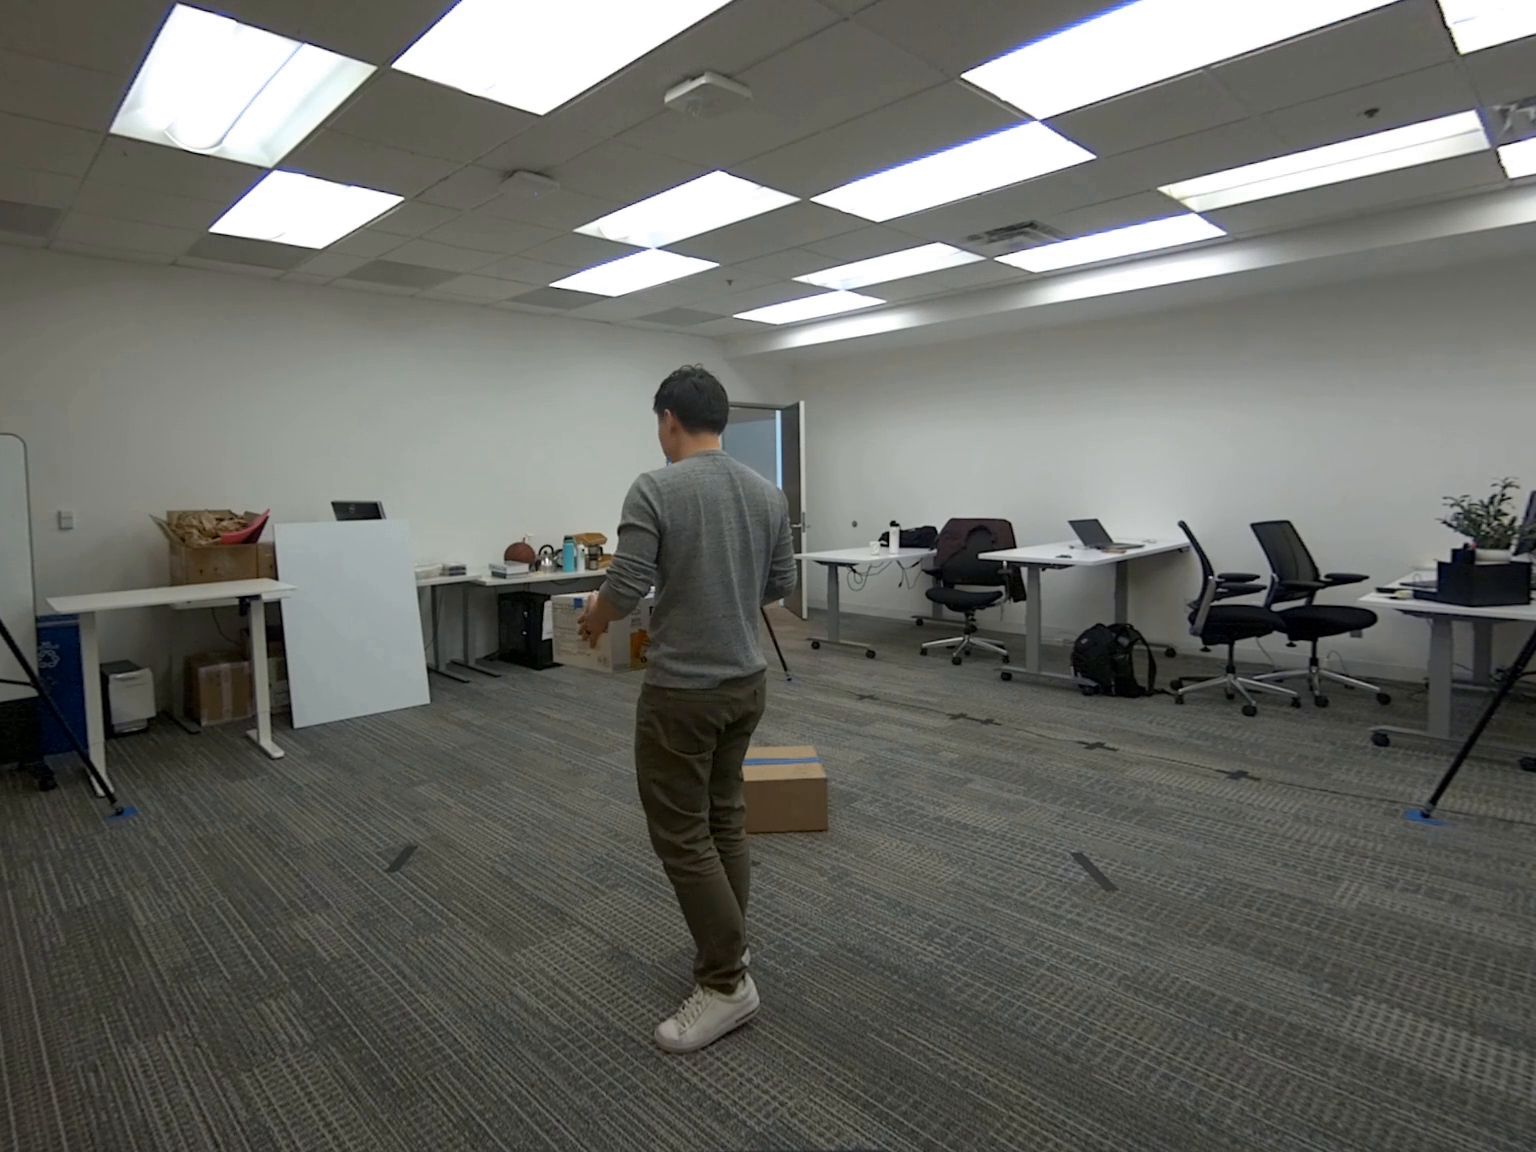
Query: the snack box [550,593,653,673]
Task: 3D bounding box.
[{"bbox_3d":[-0.384,0.152,2.563,0.394,0.205,0.350,-5,3,-41],"label":"snack box"}]
